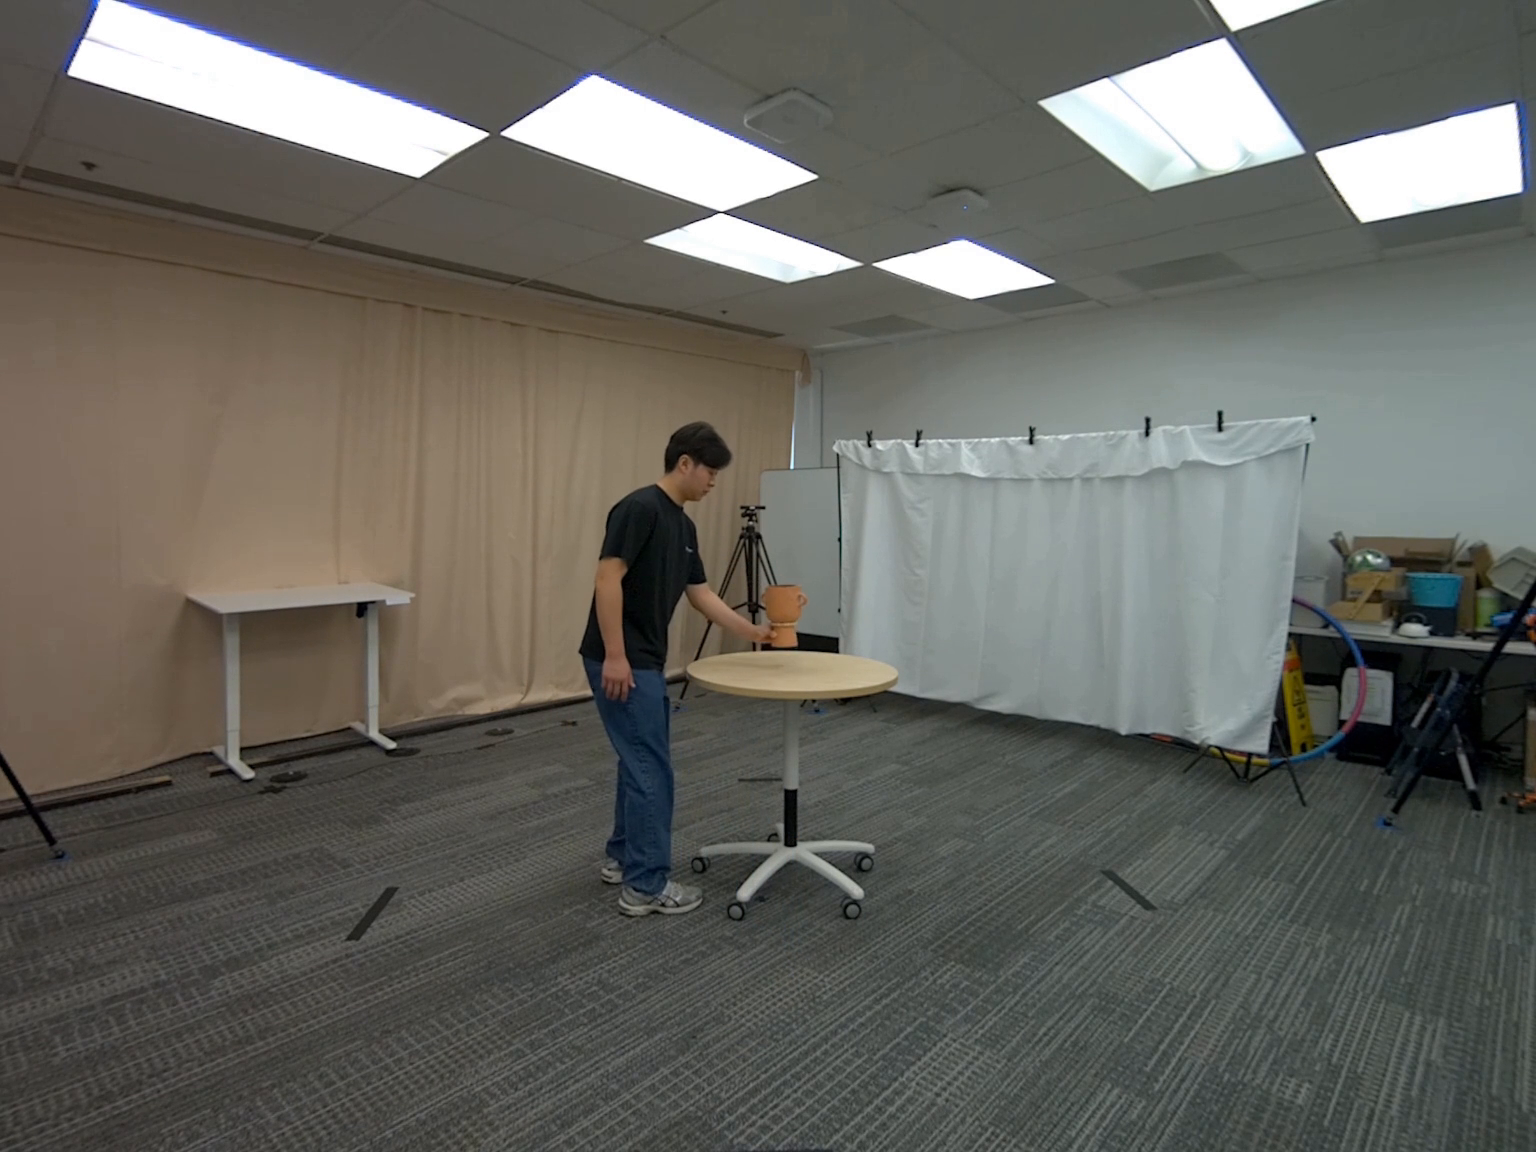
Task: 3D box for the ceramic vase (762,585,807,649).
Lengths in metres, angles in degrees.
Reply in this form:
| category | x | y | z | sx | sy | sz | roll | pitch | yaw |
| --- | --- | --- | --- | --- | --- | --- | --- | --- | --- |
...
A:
| category | x | y | z | sx | sy | sz | roll | pitch | yaw |
| --- | --- | --- | --- | --- | --- | --- | --- | --- | --- |
| ceramic vase | 0.056 | 0.145 | 3.079 | 0.132 | 0.219 | 0.161 | -2 | 1 | -15 |
